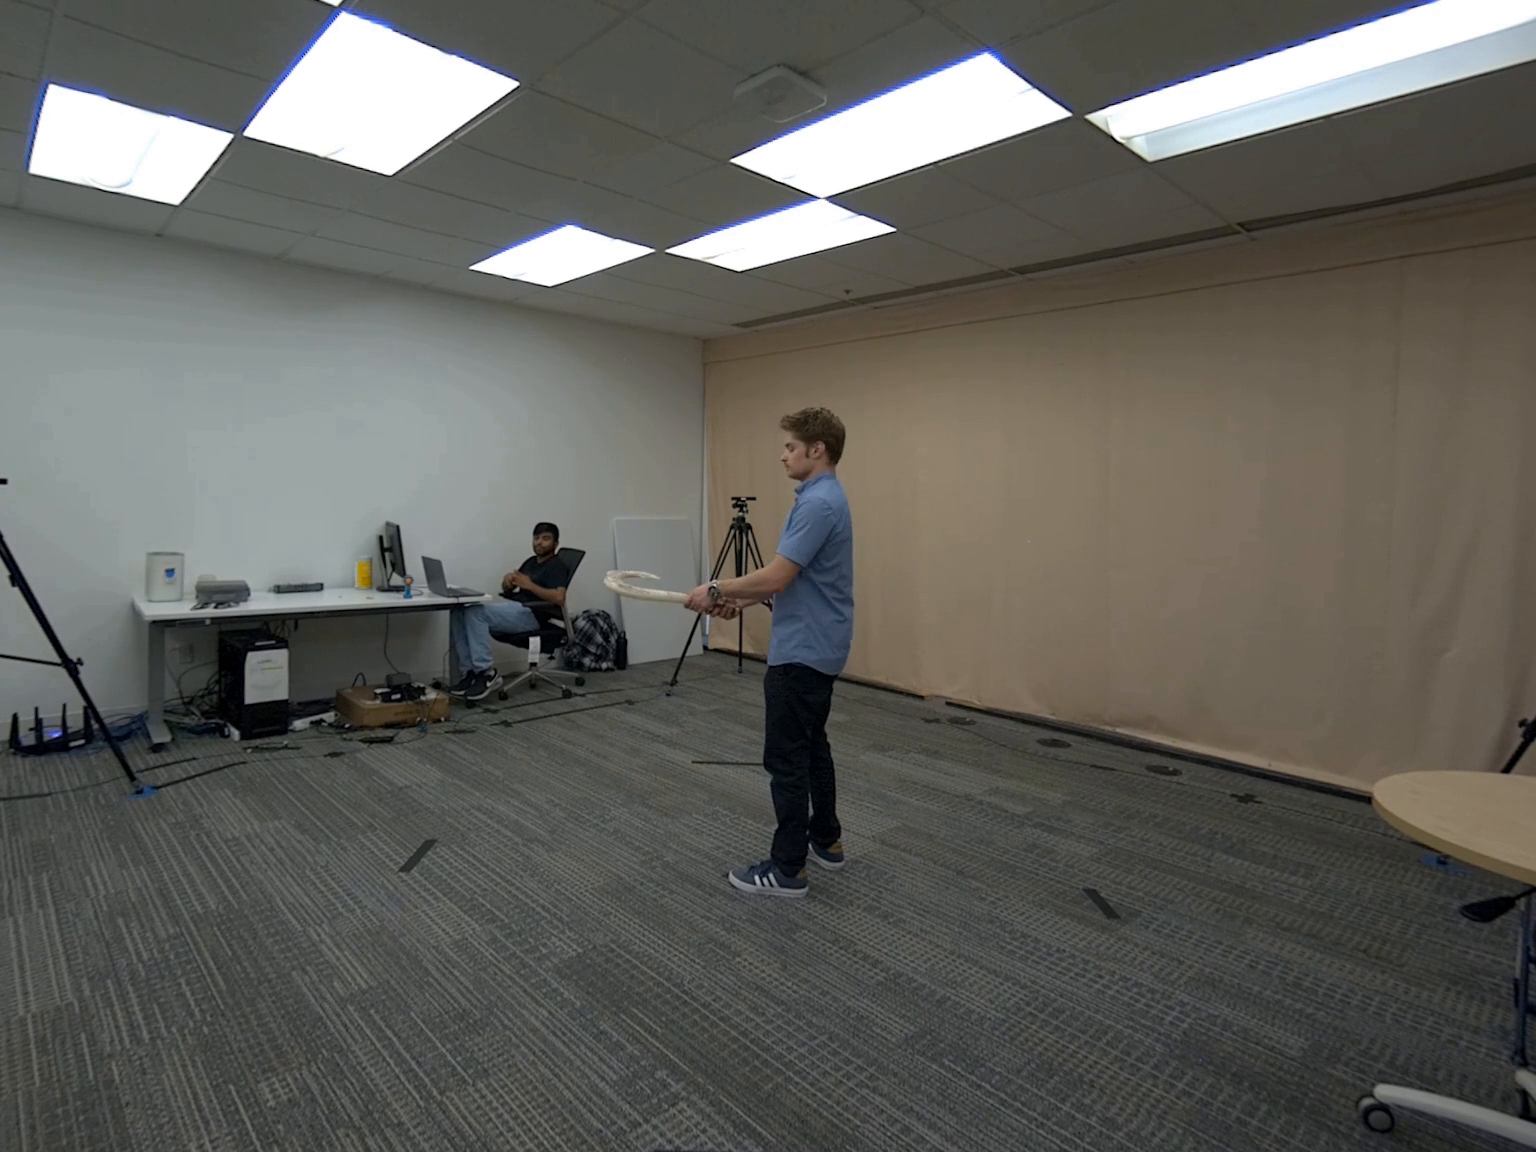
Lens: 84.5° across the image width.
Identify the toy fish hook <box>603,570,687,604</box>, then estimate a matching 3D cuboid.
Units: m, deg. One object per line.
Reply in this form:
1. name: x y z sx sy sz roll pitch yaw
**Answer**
1. toy fish hook: -0.304 0.062 3.107 0.504 0.048 0.228 13 24 -5
